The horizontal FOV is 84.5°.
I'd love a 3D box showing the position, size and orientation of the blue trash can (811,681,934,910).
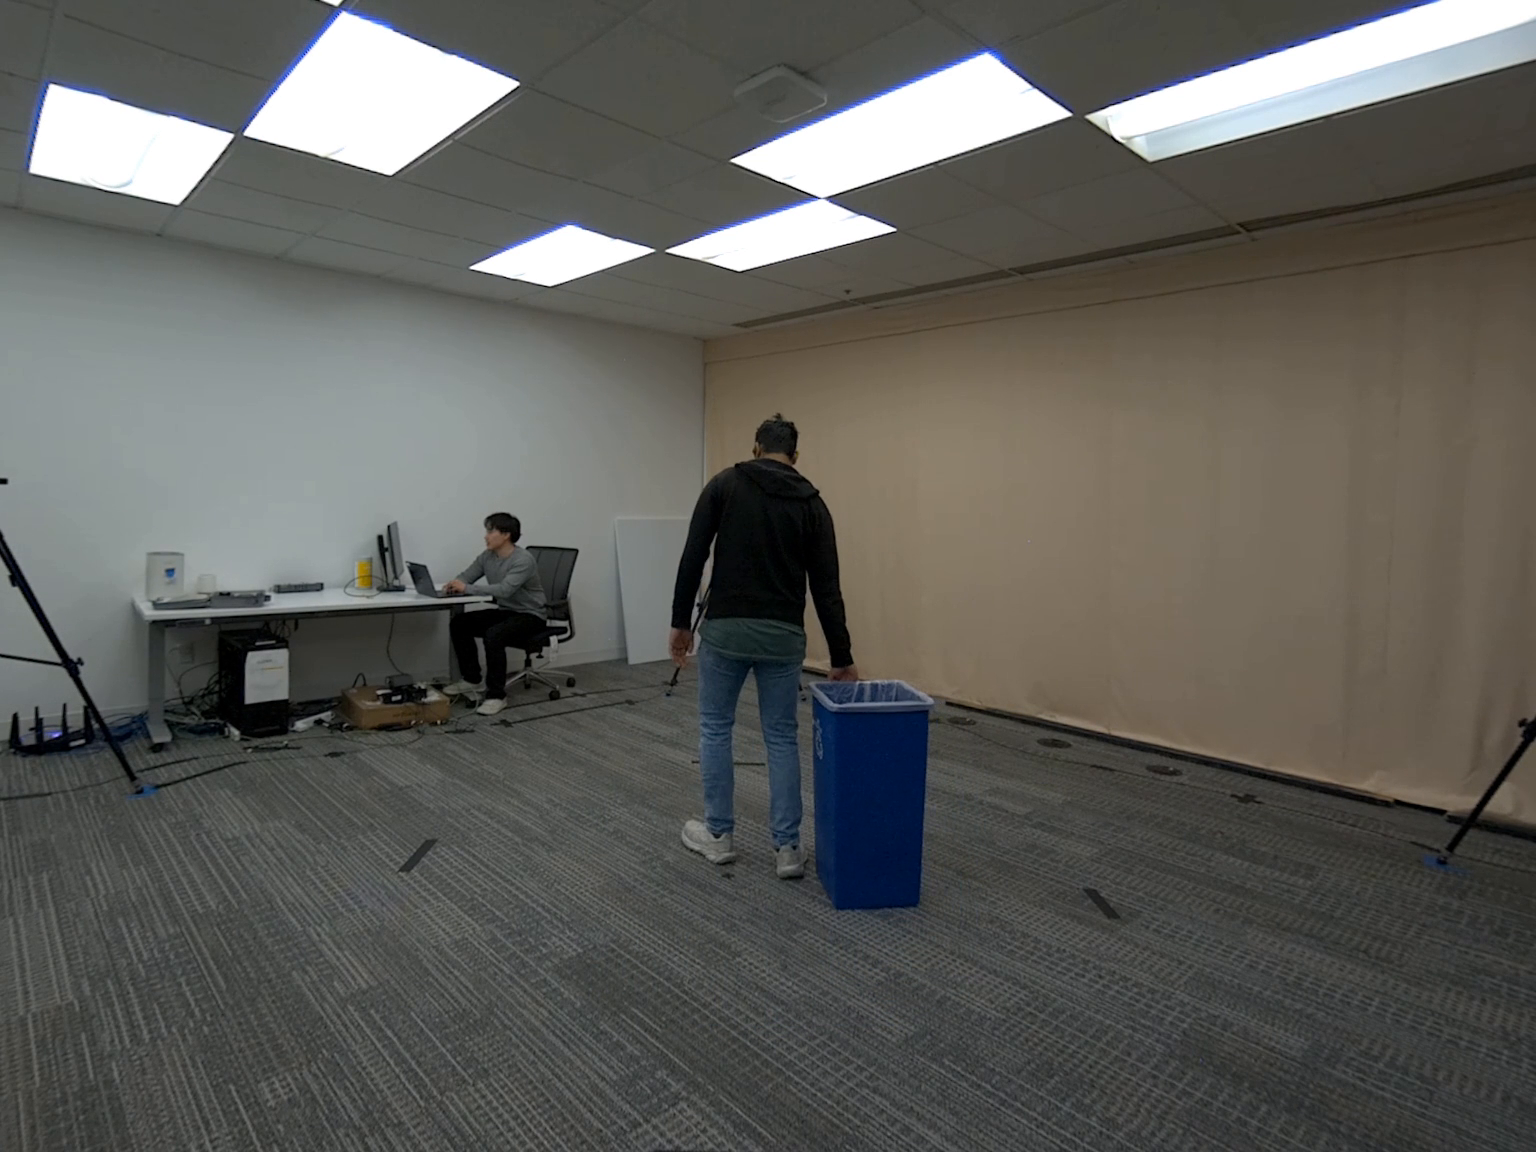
[{"bbox_3d":[0.350,0.766,2.998,0.371,0.712,0.382,0,3,-10],"label":"blue trash can"}]
